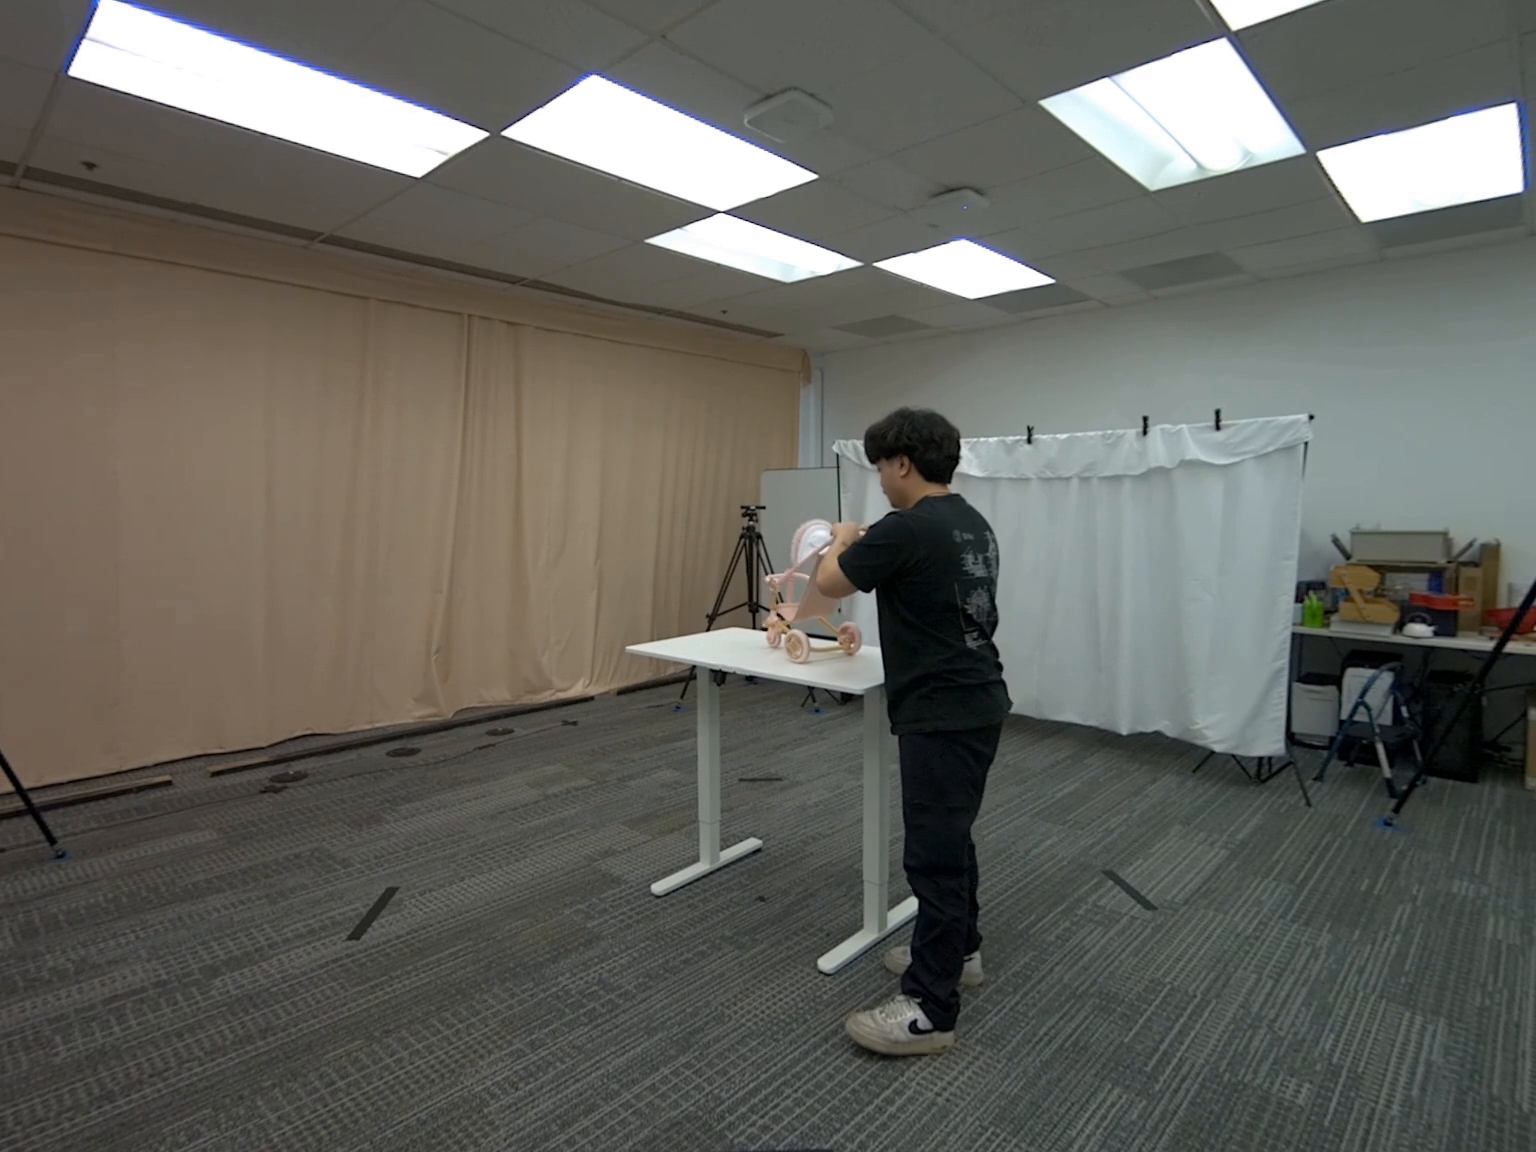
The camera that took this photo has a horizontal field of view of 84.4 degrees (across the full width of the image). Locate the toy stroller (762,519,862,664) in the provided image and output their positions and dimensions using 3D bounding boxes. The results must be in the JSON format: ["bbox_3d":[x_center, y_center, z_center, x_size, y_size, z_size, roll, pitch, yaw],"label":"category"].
[{"bbox_3d":[0.152,0.049,2.842,0.273,0.531,0.354,-2,20,-35],"label":"toy stroller"}]
